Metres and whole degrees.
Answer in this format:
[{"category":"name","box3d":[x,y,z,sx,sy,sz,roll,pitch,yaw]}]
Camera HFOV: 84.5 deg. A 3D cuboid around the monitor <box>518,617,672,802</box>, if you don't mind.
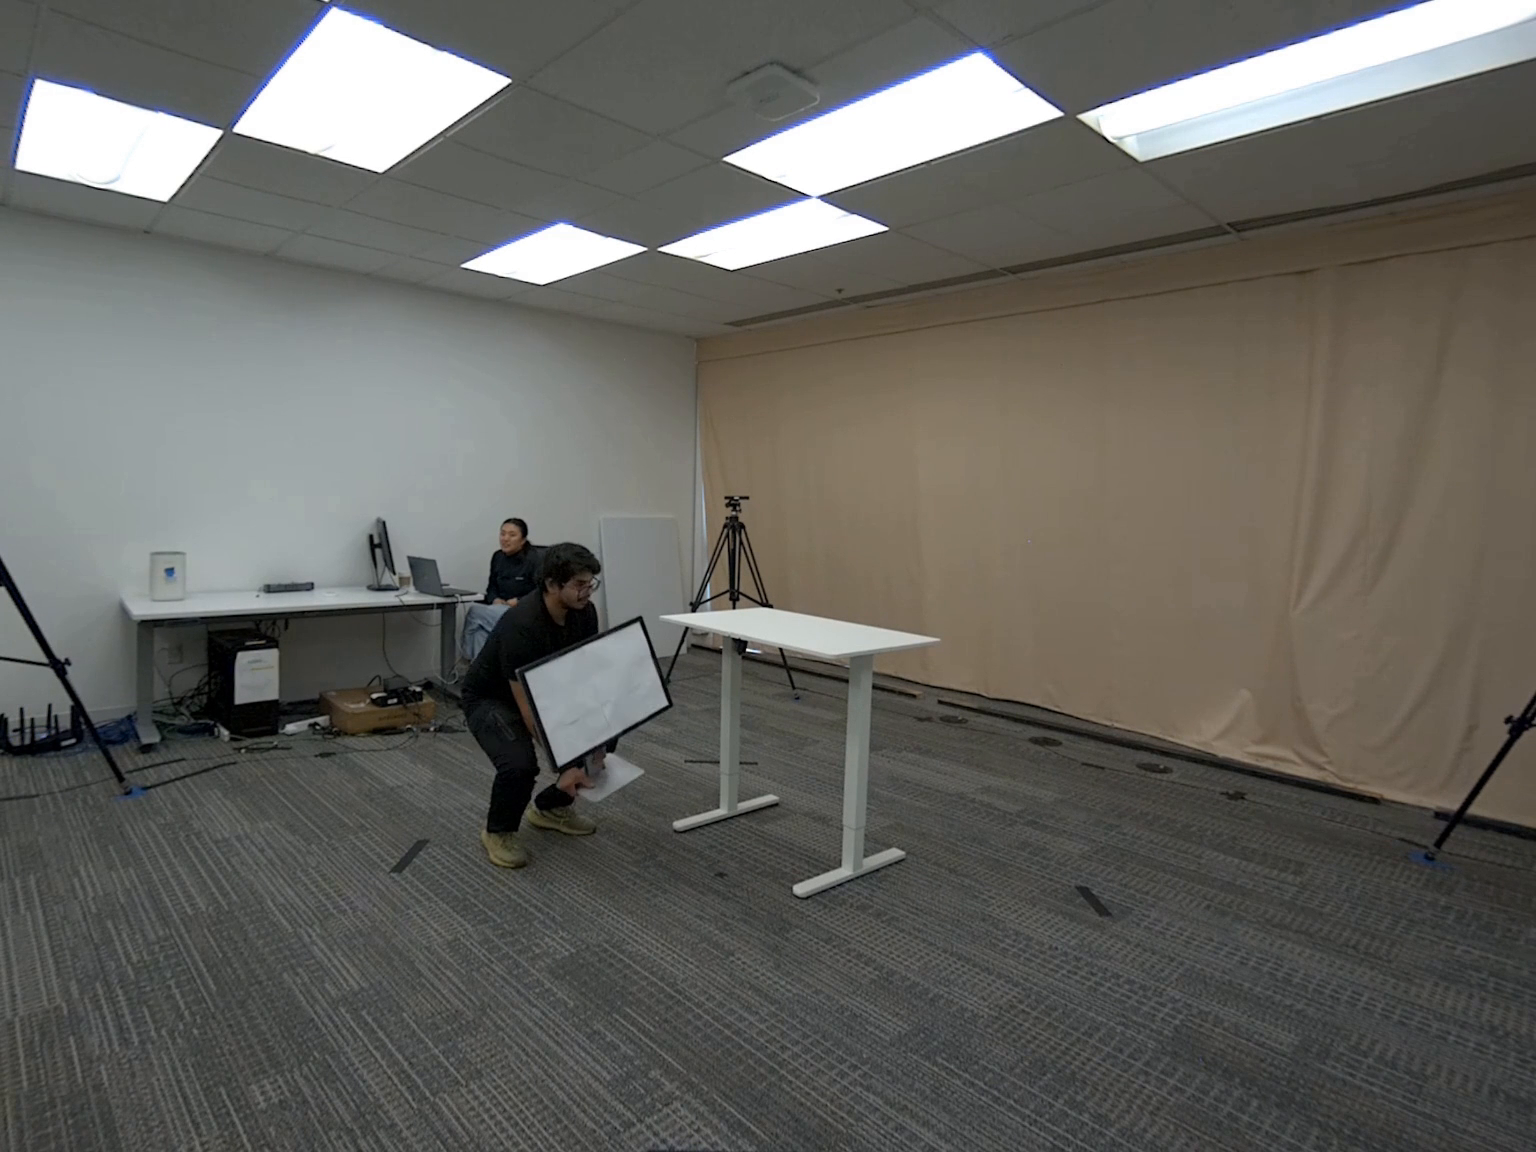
[{"category":"monitor","box3d":[-0.637,0.489,3.001,0.215,0.549,0.558,-4,13,42]}]
